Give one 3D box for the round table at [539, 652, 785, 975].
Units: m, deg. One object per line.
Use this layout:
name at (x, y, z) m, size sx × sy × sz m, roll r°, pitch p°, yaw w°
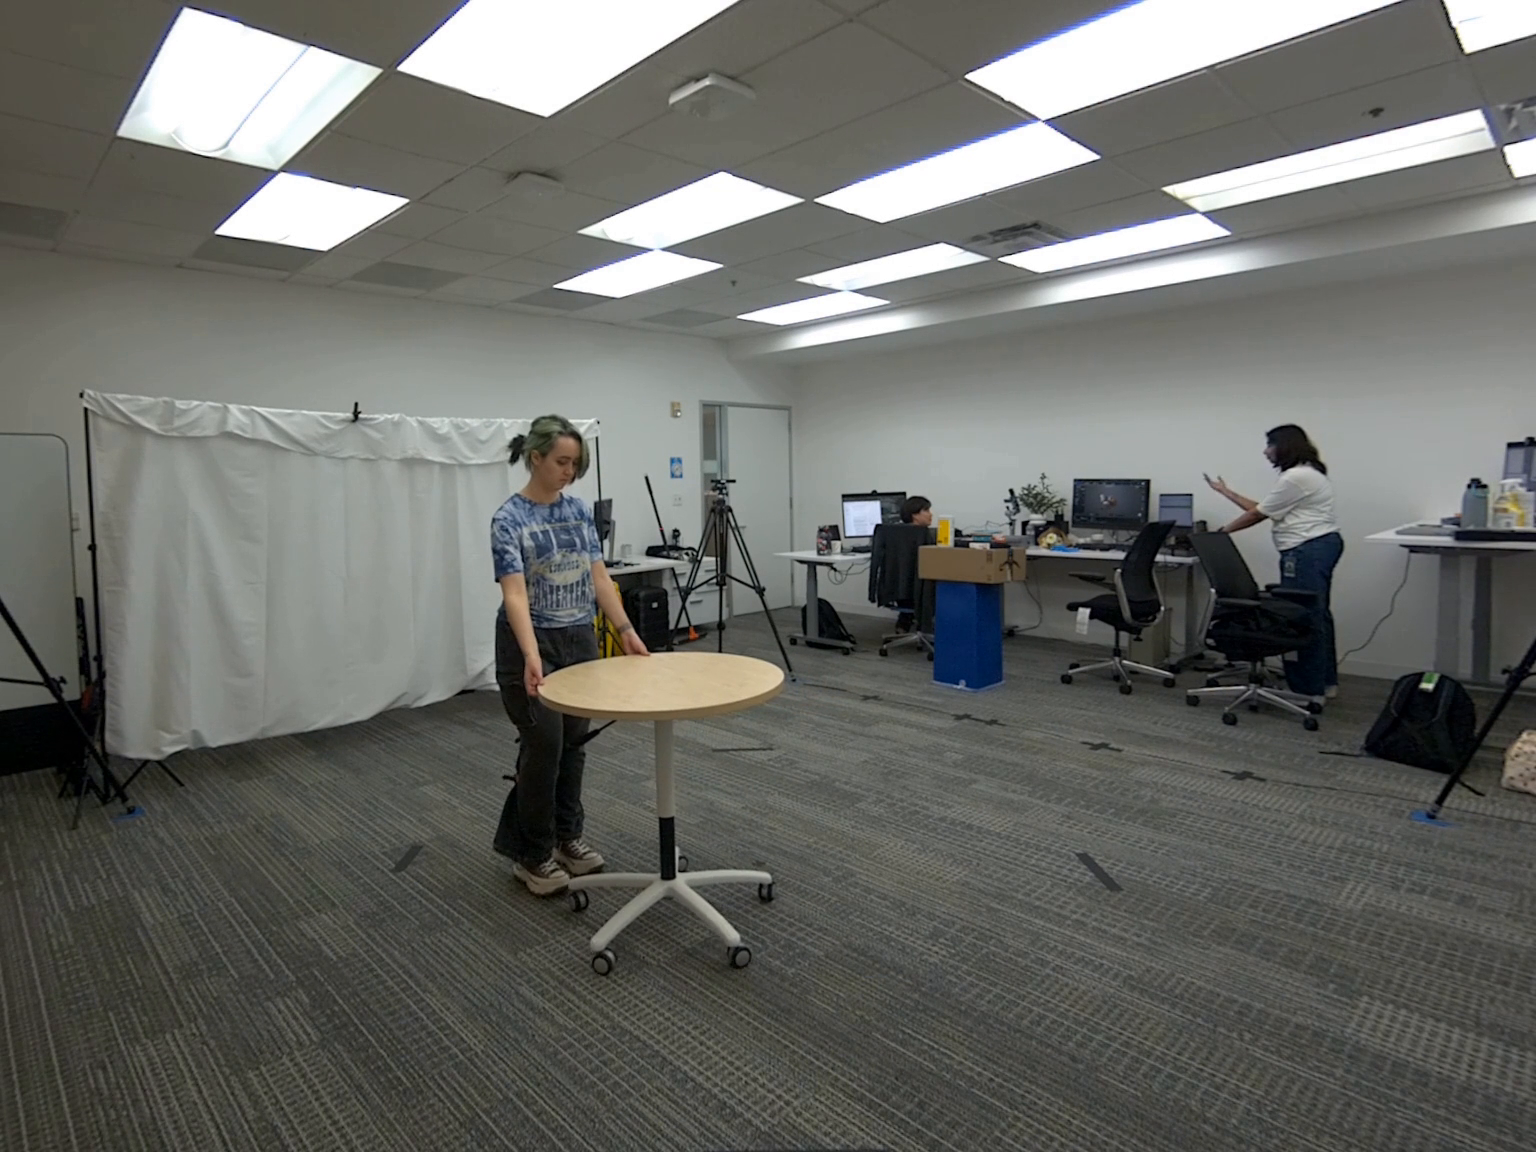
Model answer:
round table at (-0.312, 0.712, 2.697) m, size 0.763 × 0.790 × 0.768 m, roll -2°, pitch 5°, yaw -1°
